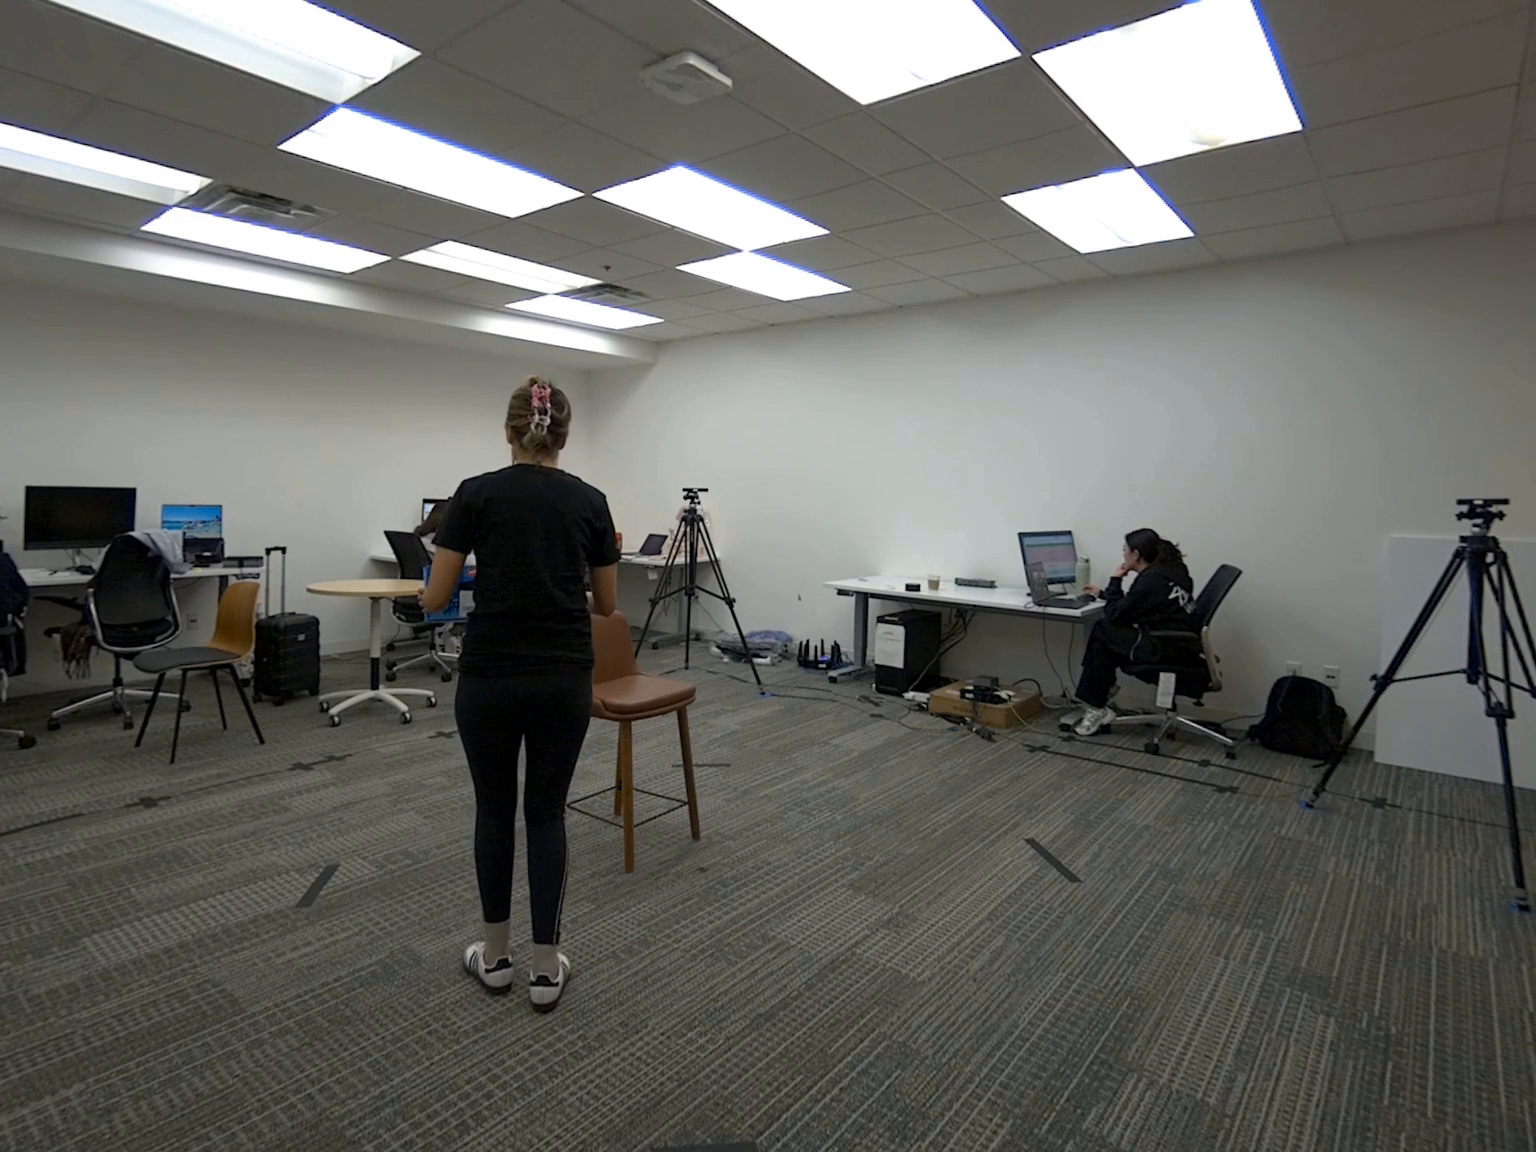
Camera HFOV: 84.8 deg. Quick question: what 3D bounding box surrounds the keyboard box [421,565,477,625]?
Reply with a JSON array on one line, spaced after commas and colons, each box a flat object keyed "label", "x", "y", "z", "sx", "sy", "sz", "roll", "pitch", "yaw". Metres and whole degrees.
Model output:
[{"label": "keyboard box", "x": -0.887, "y": 0.055, "z": 2.718, "sx": 0.425, "sy": 0.177, "sz": 0.060, "roll": -1, "pitch": -5, "yaw": -29}]
